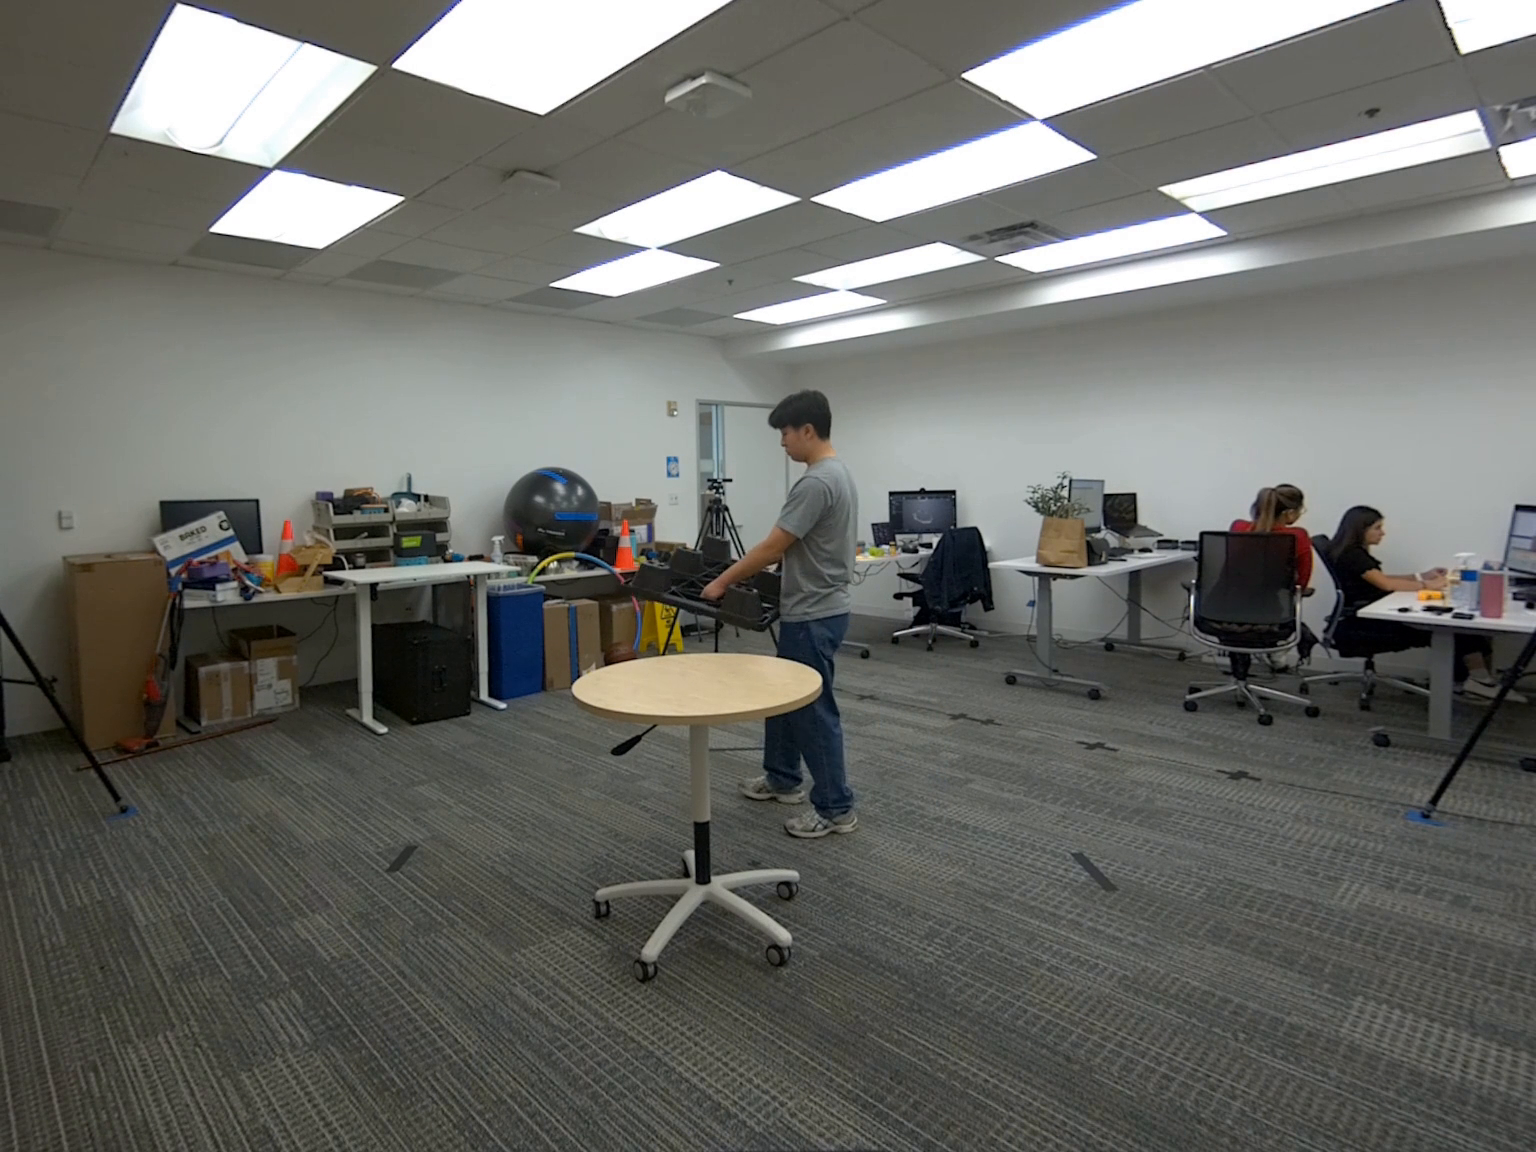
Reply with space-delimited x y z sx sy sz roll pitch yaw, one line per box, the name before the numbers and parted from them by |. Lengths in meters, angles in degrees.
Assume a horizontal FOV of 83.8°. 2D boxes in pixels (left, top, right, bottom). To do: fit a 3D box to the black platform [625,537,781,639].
black platform | -0.171 0.001 3.591 0.617 0.142 0.798 15 16 16
